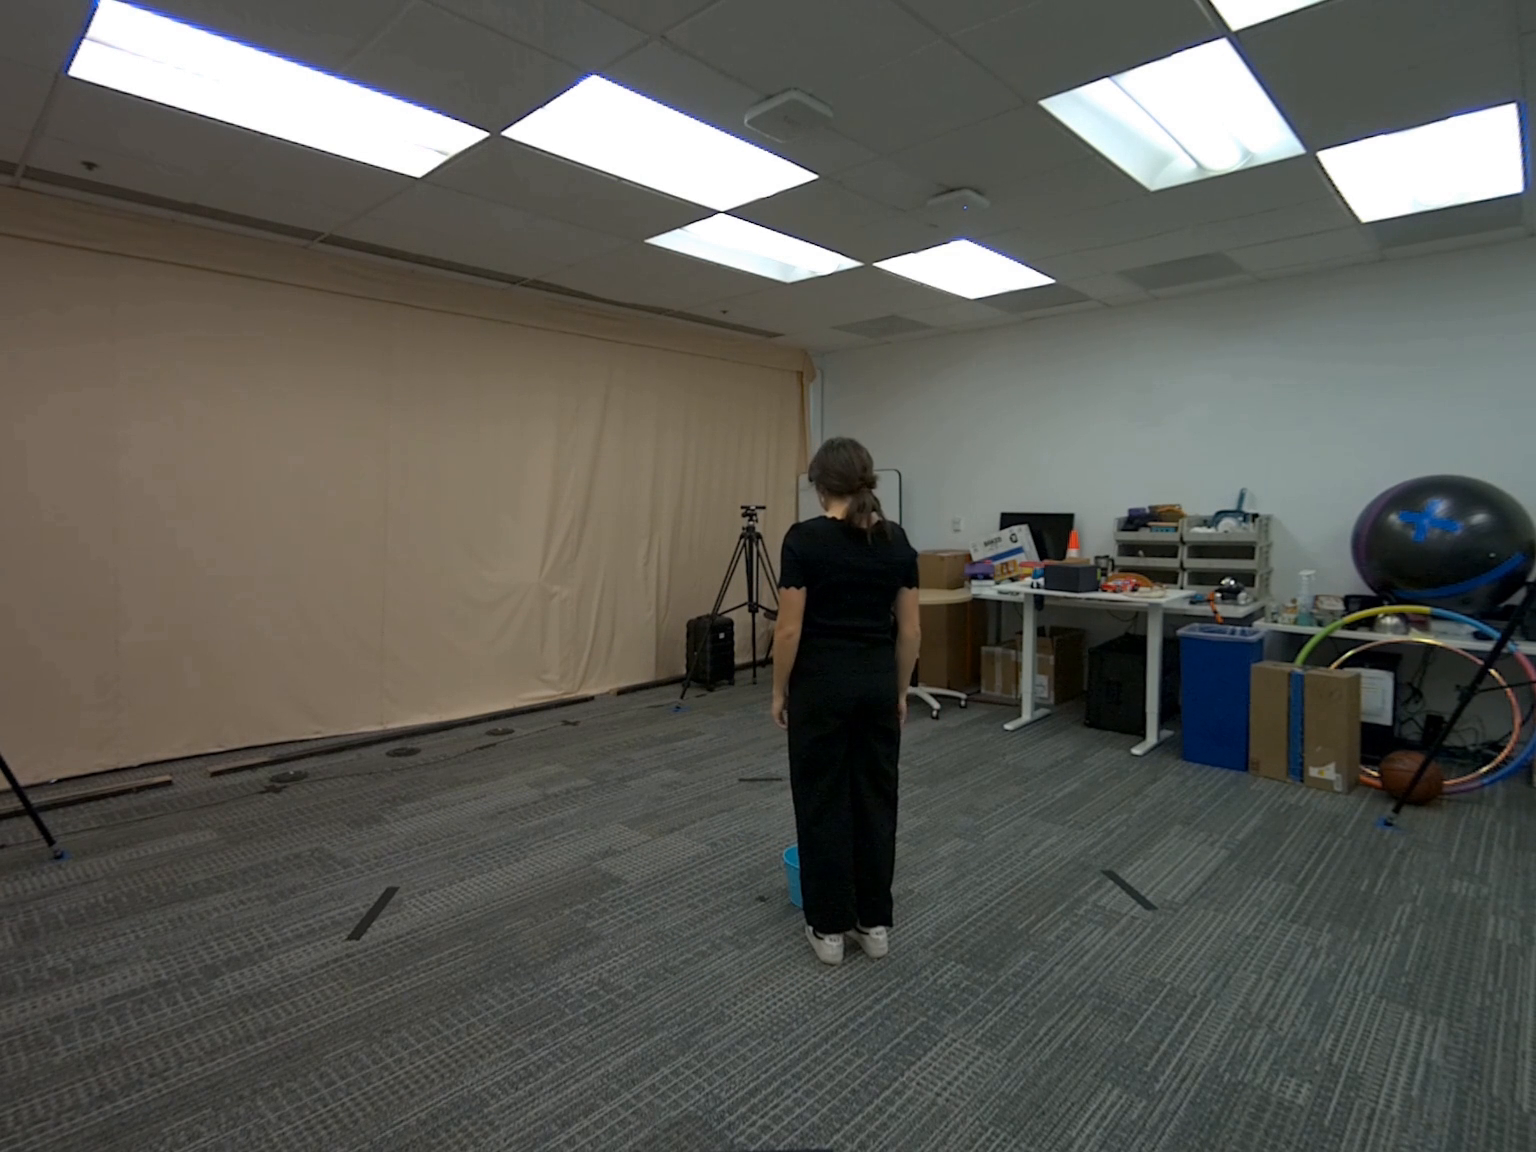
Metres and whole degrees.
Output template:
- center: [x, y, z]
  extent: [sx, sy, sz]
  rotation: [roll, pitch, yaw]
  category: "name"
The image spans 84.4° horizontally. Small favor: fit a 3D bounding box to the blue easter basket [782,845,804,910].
- center: [0.177, 1.064, 2.983]
  extent: [0.243, 0.155, 0.244]
  rotation: [0, 4, -2]
  category: "blue easter basket"
